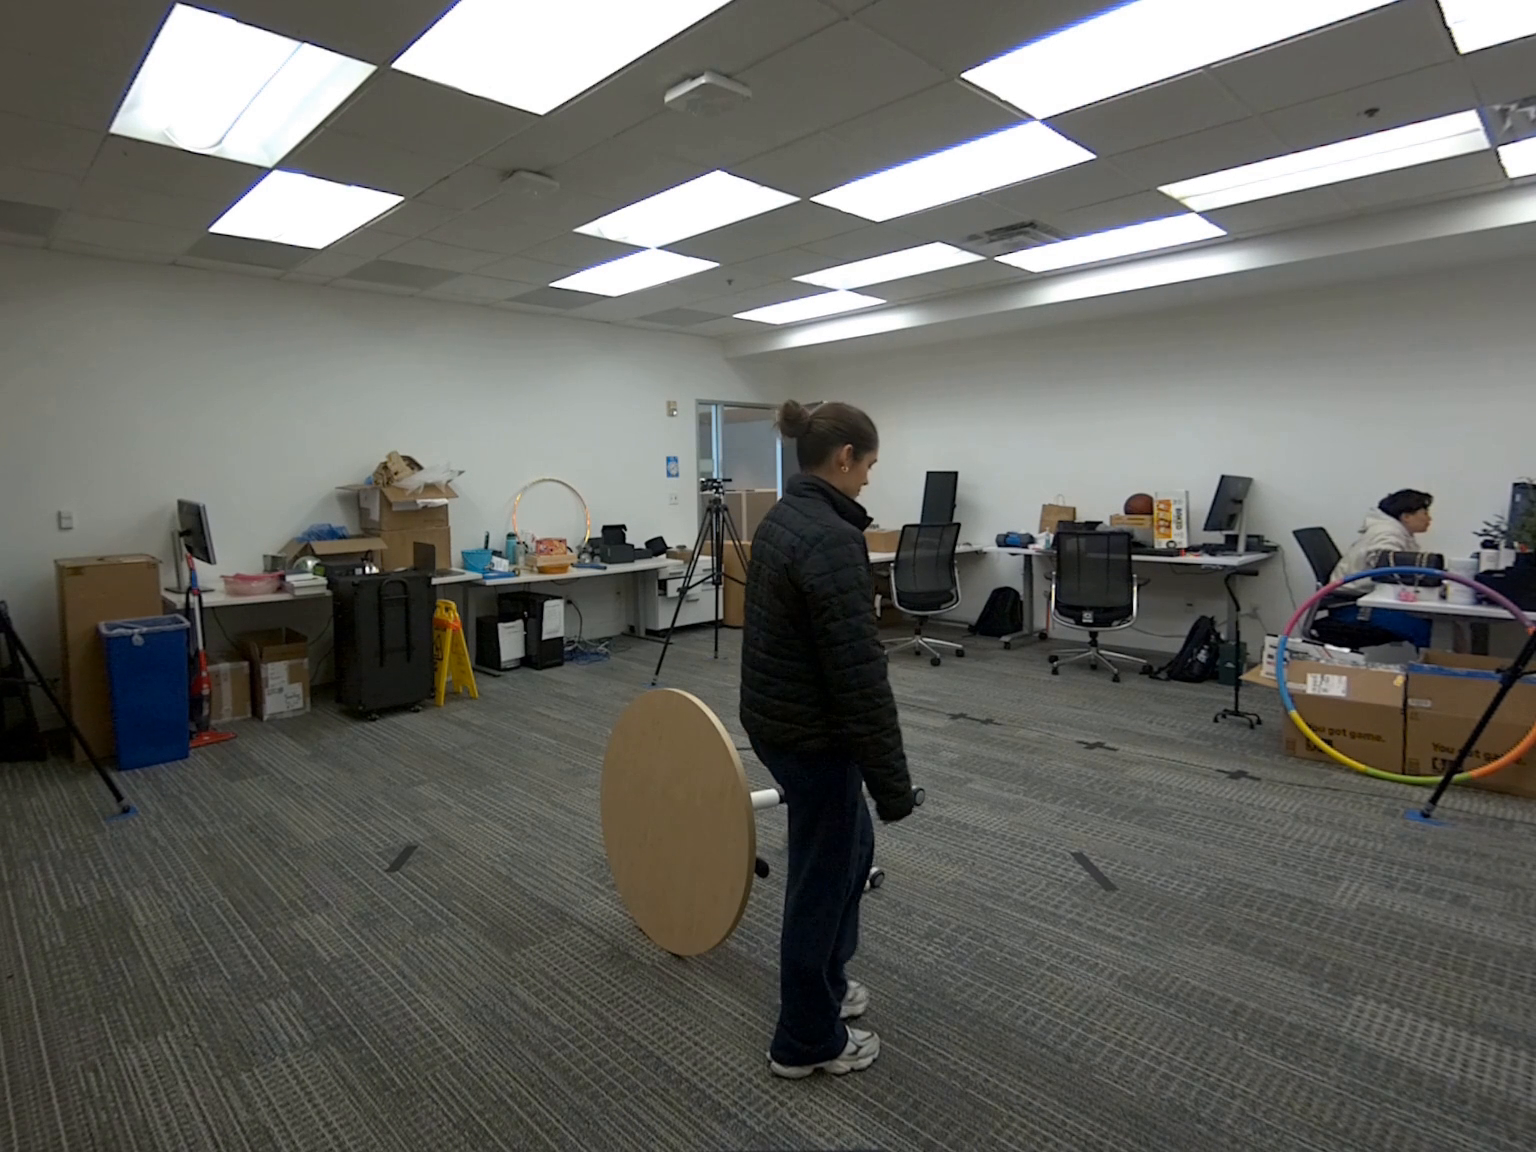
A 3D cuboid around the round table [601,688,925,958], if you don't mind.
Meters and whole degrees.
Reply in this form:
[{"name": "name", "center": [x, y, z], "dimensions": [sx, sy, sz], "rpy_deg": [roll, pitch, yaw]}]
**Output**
[{"name": "round table", "center": [-0.008, 0.737, 2.833], "dimensions": [0.763, 0.785, 0.809], "rpy_deg": [2, 2, -40]}]
